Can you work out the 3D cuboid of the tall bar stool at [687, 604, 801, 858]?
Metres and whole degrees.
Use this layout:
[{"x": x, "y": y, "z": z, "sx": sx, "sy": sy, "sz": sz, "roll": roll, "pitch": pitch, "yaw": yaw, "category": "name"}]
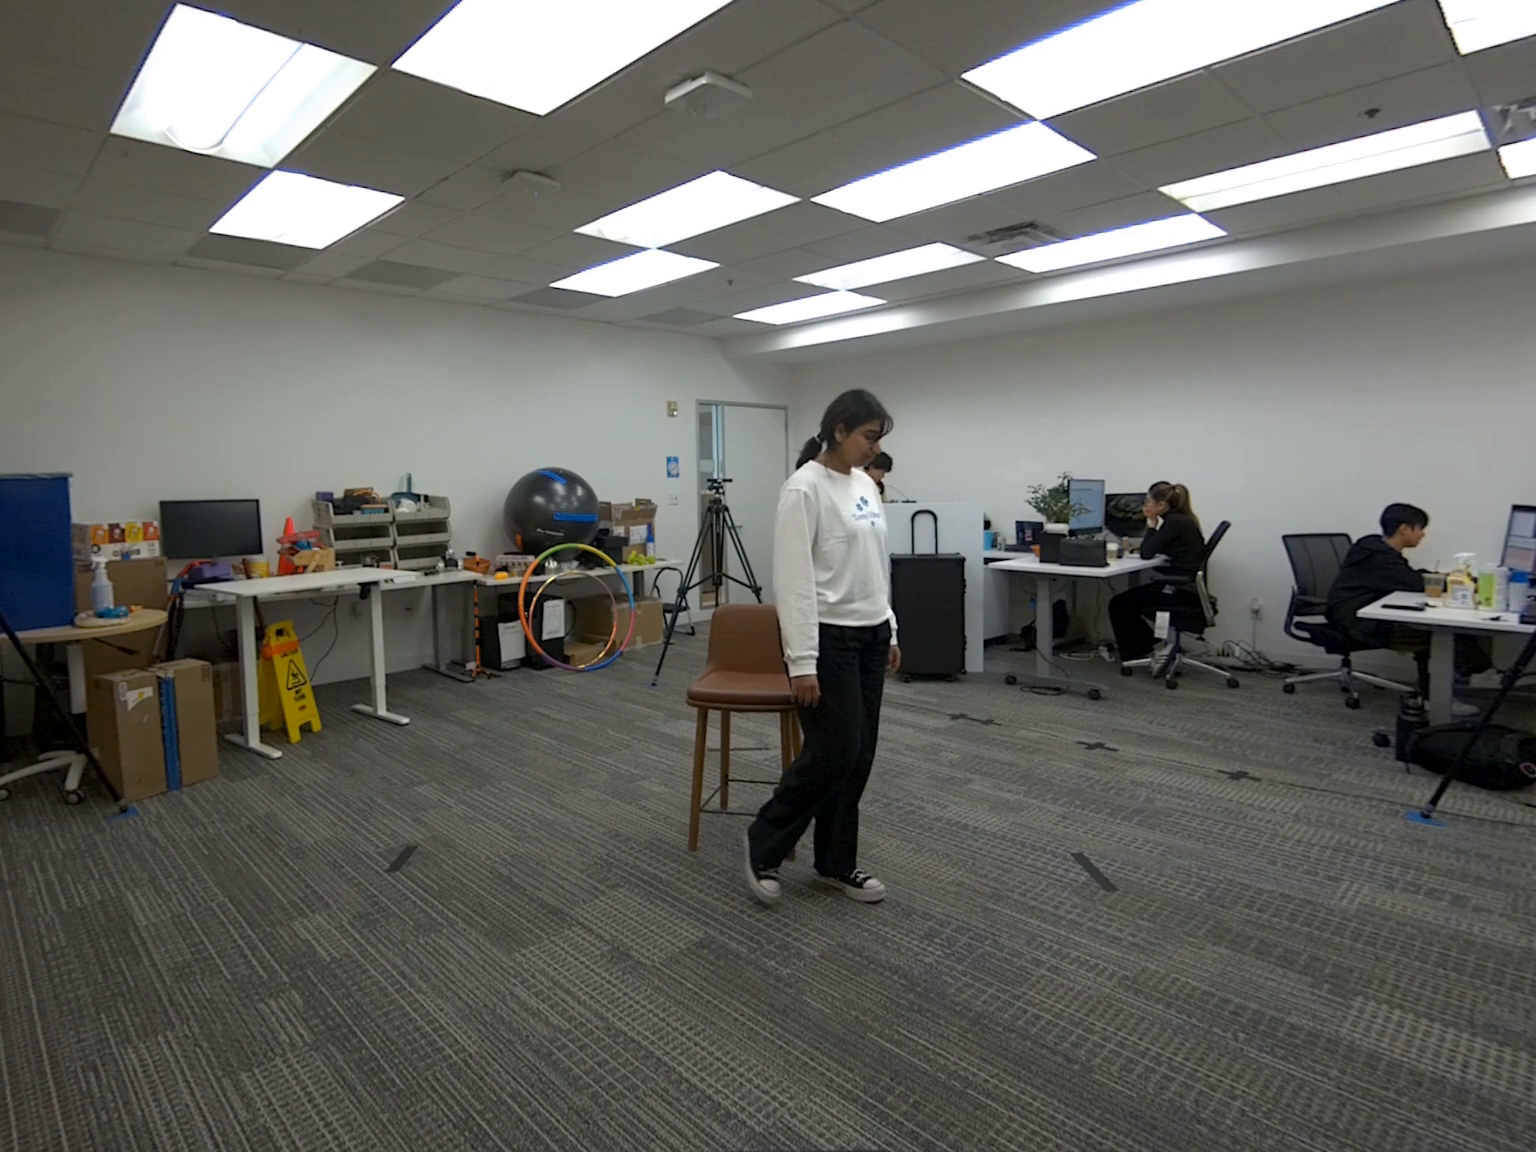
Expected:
[{"x": -0.064, "y": 0.580, "z": 3.371, "sx": 0.463, "sy": 0.888, "sz": 0.462, "roll": 0, "pitch": 2, "yaw": 14, "category": "tall bar stool"}]
